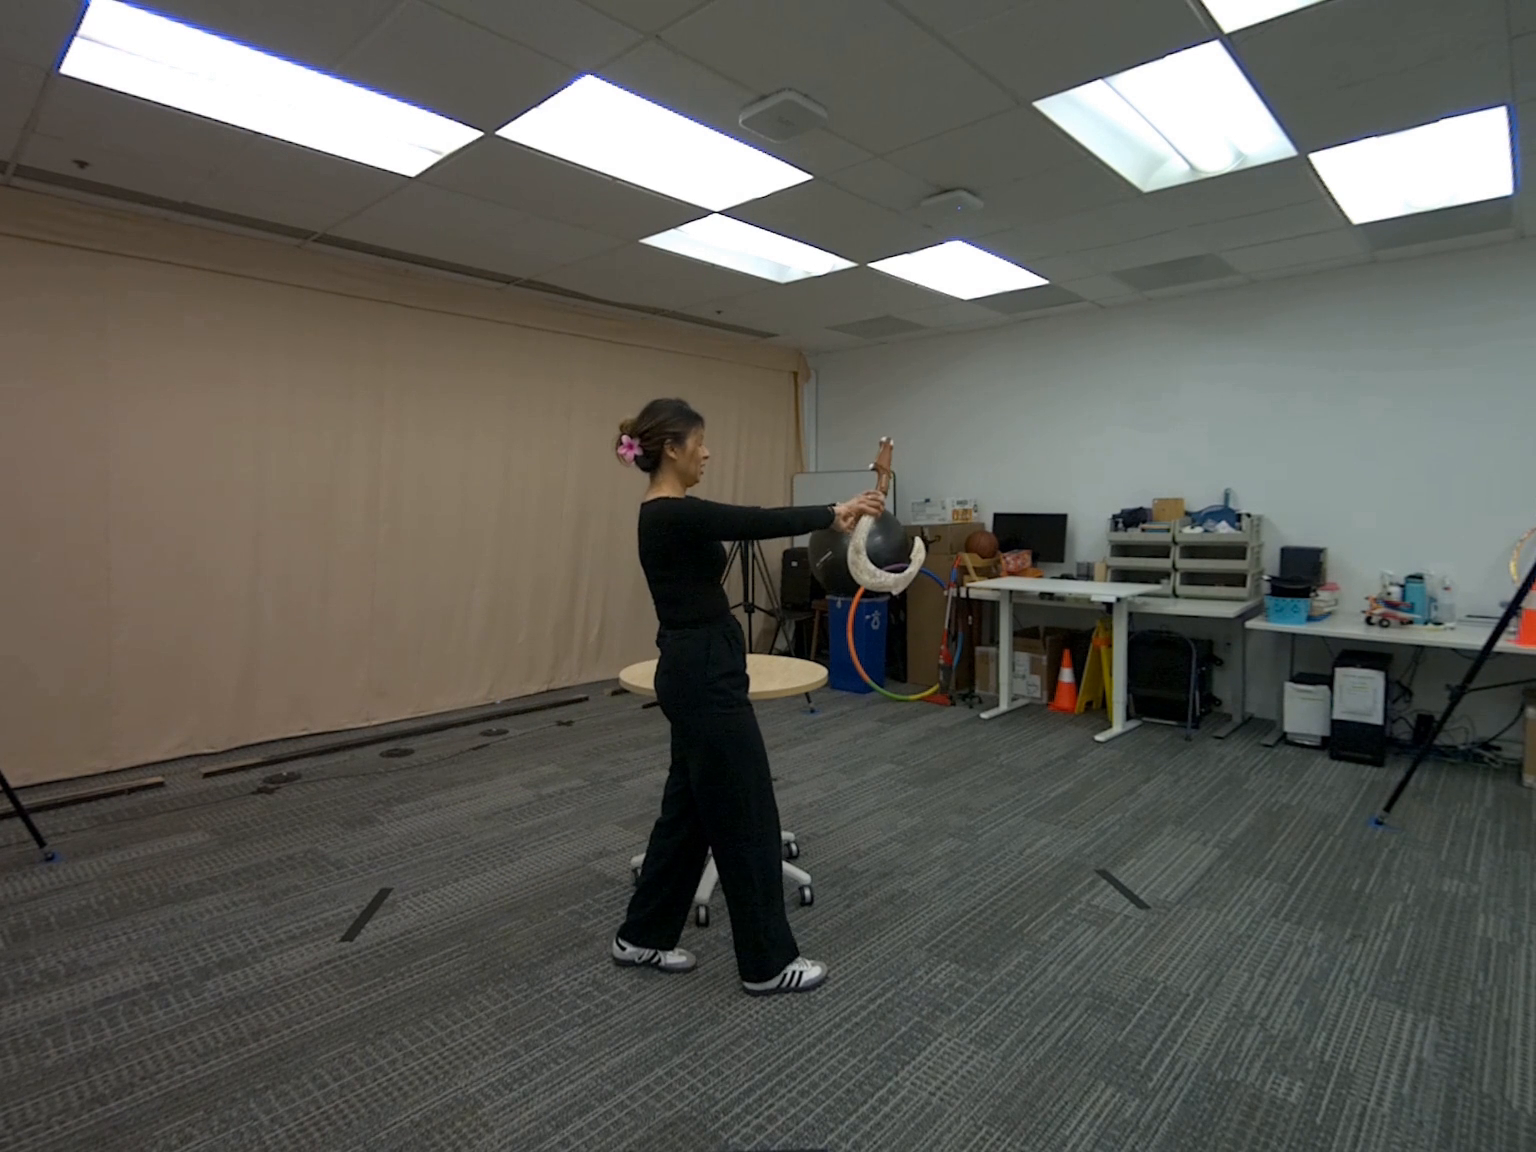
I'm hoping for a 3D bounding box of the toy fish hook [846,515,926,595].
[{"bbox_3d":[0.385,-0.191,2.547,0.223,0.510,0.048,12,-19,-4],"label":"toy fish hook"}]
